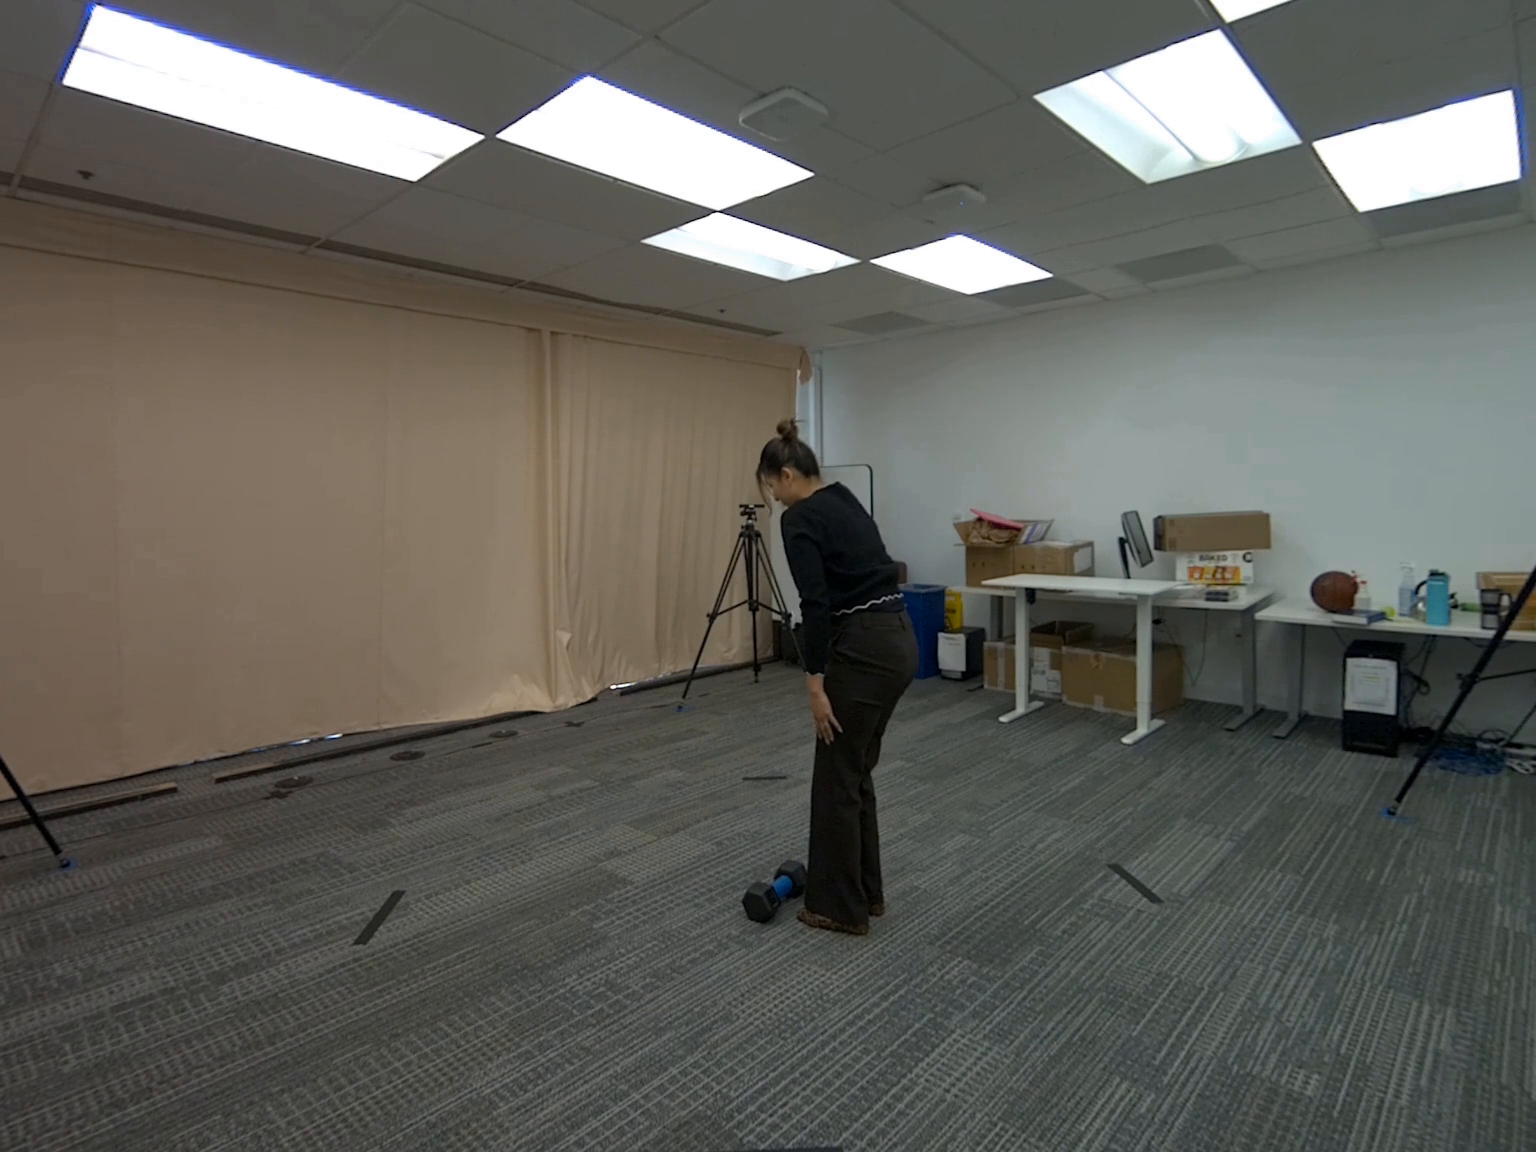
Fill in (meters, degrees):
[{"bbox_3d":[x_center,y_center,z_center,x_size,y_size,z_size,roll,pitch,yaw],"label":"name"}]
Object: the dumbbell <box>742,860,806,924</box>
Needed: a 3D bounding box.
[{"bbox_3d":[0.038,1.094,2.922,0.126,0.108,0.286,0,5,32],"label":"dumbbell"}]
